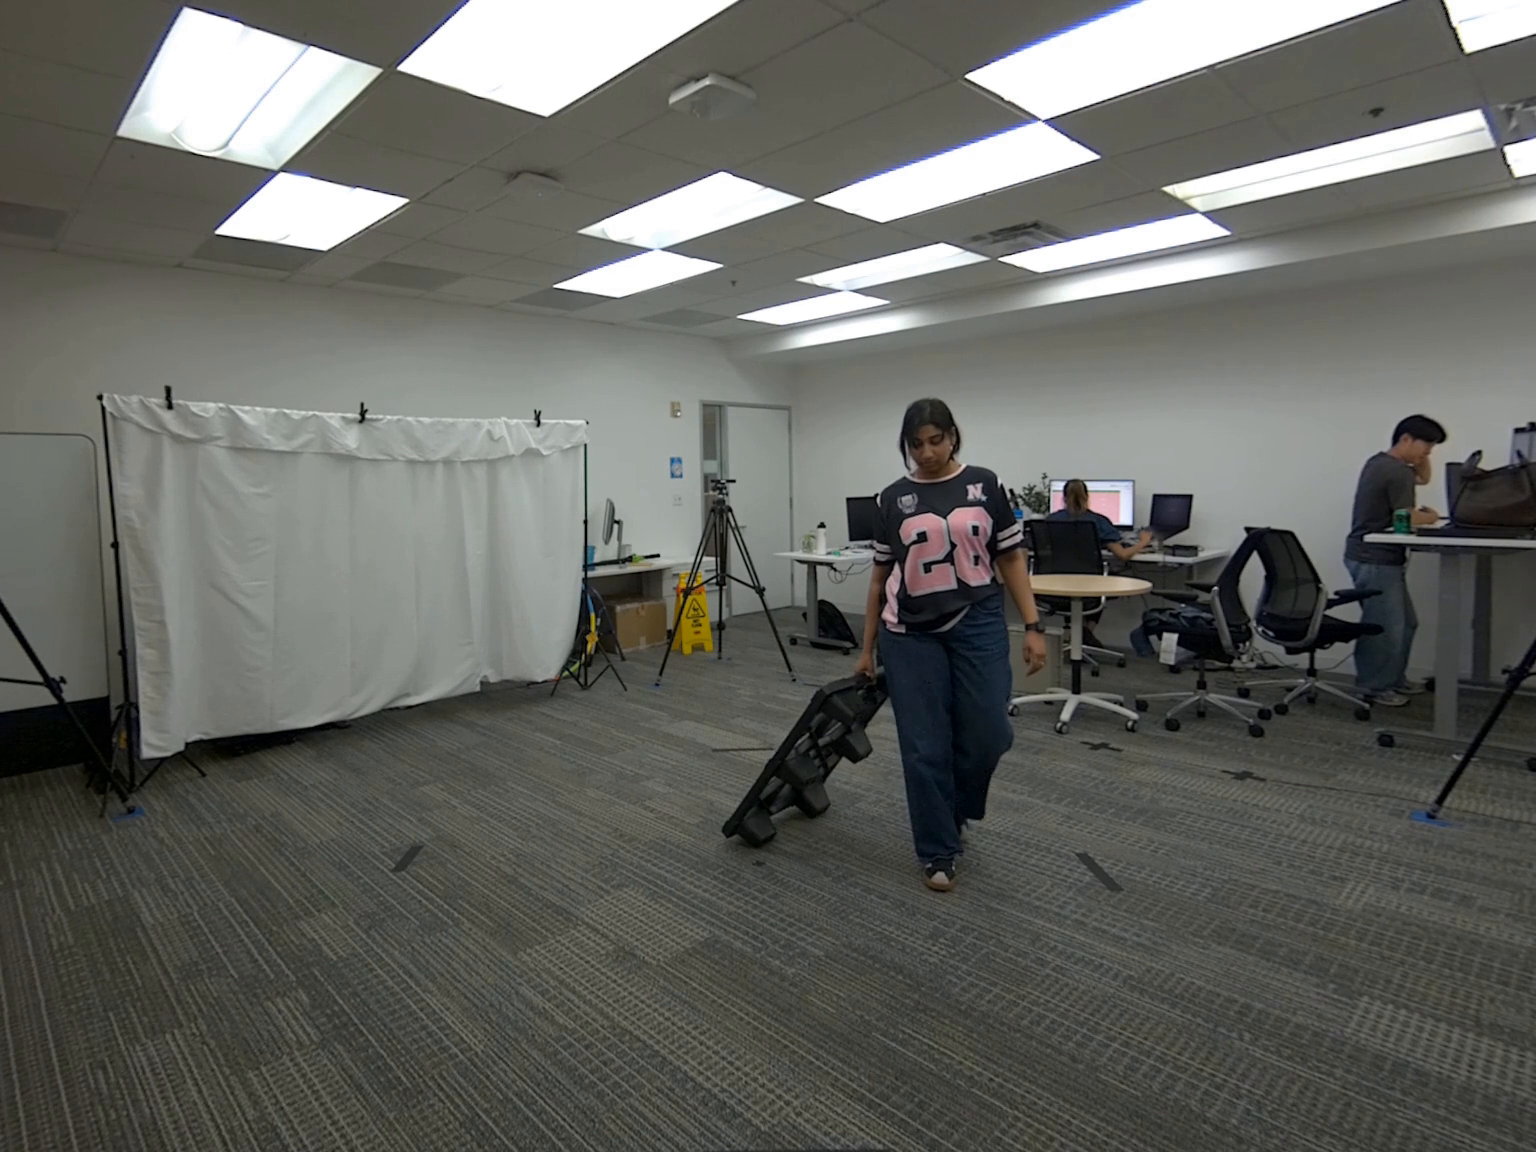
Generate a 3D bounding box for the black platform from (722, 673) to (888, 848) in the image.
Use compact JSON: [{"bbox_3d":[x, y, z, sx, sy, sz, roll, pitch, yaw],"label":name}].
[{"bbox_3d":[0.224,0.687,3.288,0.589,0.799,0.148,-6,44,-50],"label":"black platform"}]
